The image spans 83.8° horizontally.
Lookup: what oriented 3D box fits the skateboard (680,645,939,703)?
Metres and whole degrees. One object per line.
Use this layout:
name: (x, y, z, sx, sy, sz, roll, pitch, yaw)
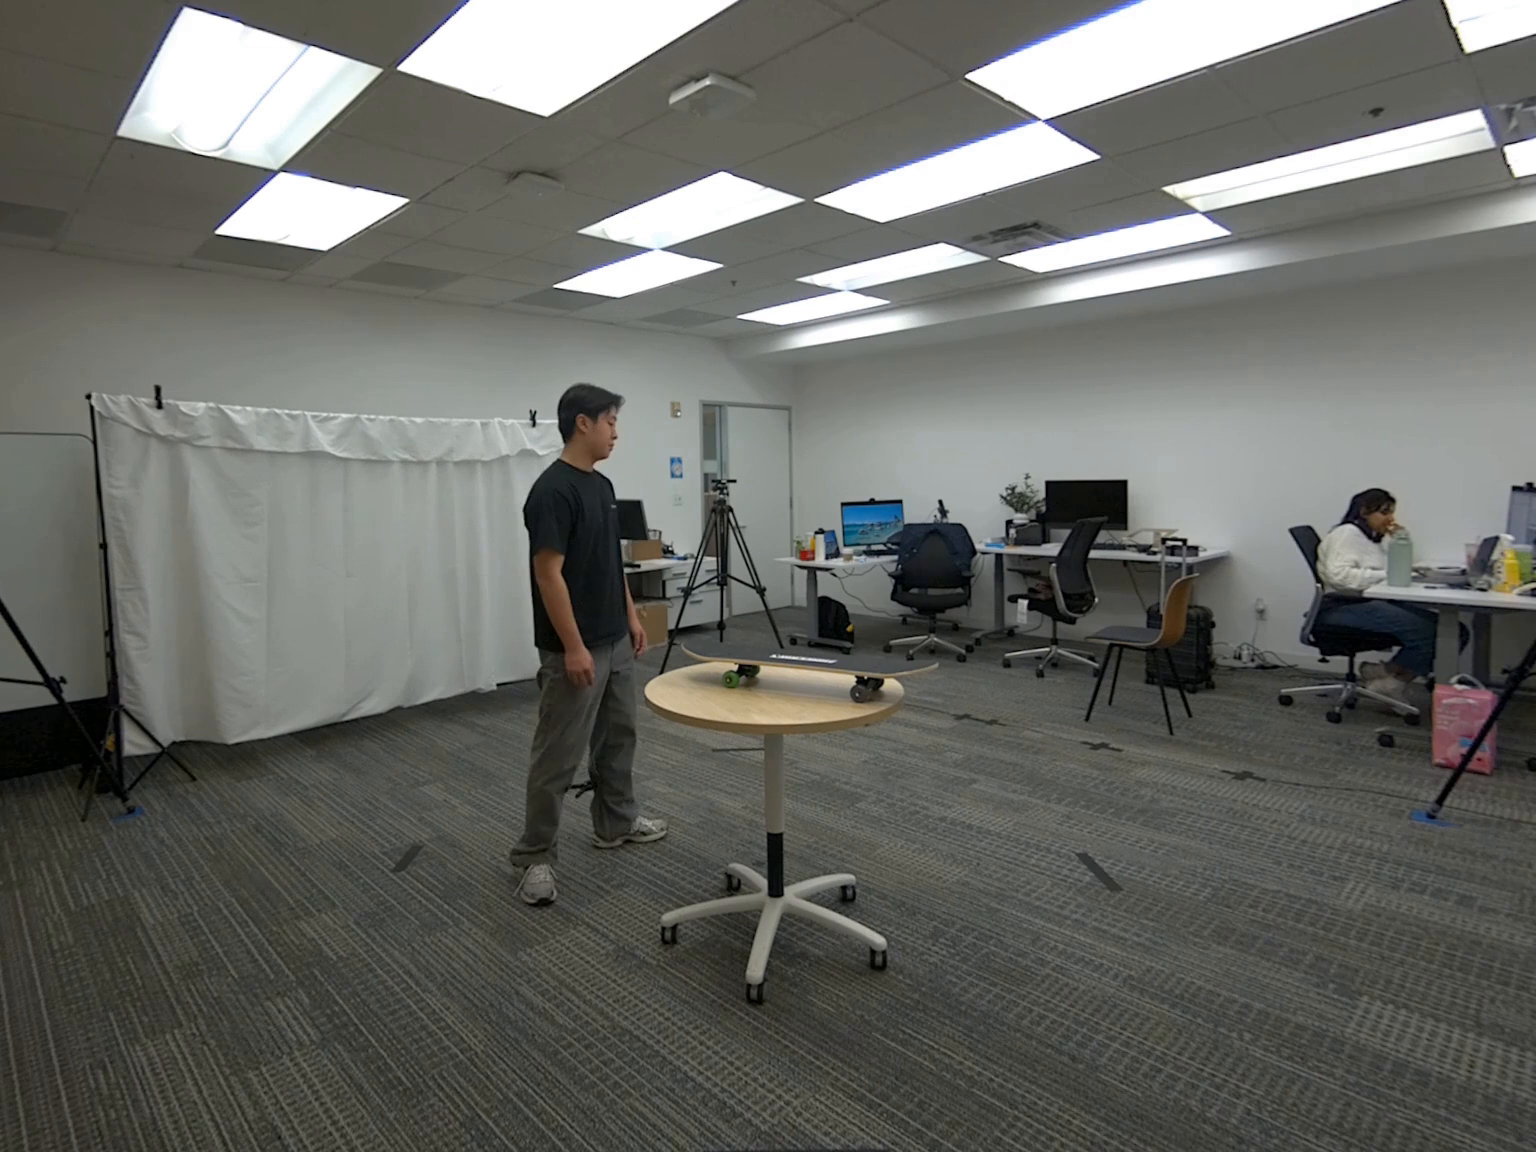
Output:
skateboard: (0.106, 0.286, 2.512, 0.804, 0.110, 0.190, 1, 8, 27)
